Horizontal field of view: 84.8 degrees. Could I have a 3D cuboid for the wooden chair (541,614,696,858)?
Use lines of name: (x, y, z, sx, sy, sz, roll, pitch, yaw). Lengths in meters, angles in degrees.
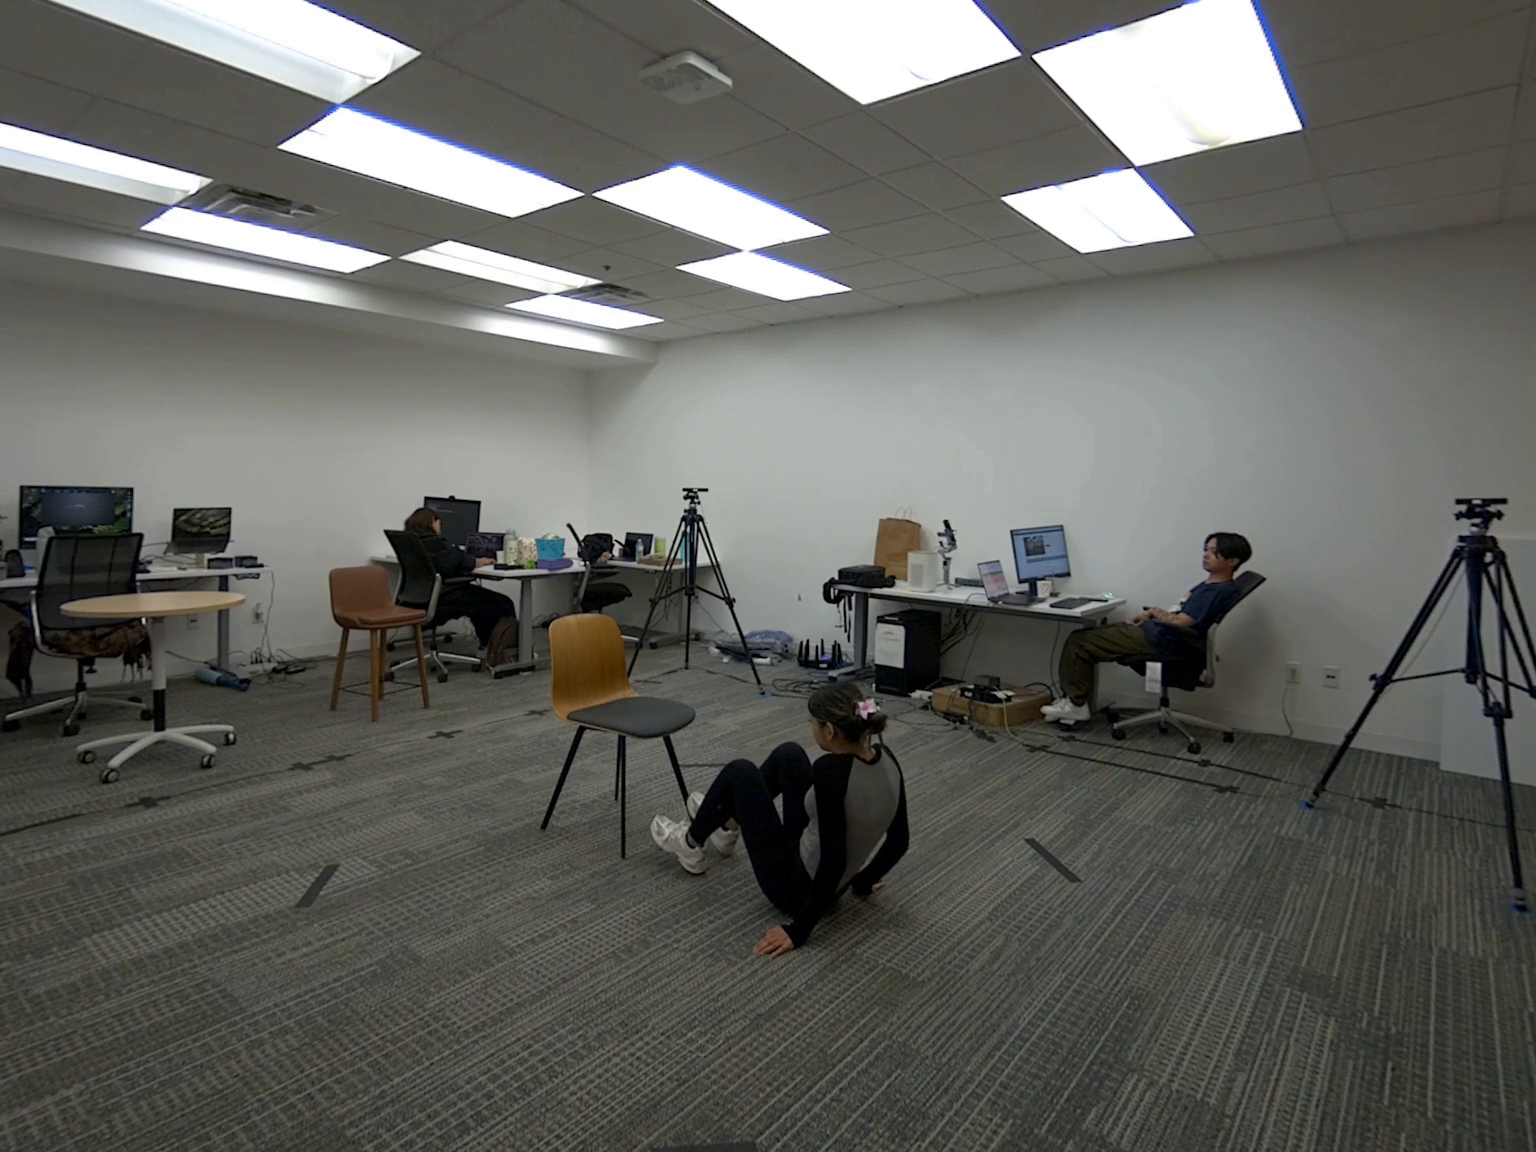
wooden chair: (-0.606, 0.599, 3.463, 0.538, 0.877, 0.464, -2, 0, 35)
